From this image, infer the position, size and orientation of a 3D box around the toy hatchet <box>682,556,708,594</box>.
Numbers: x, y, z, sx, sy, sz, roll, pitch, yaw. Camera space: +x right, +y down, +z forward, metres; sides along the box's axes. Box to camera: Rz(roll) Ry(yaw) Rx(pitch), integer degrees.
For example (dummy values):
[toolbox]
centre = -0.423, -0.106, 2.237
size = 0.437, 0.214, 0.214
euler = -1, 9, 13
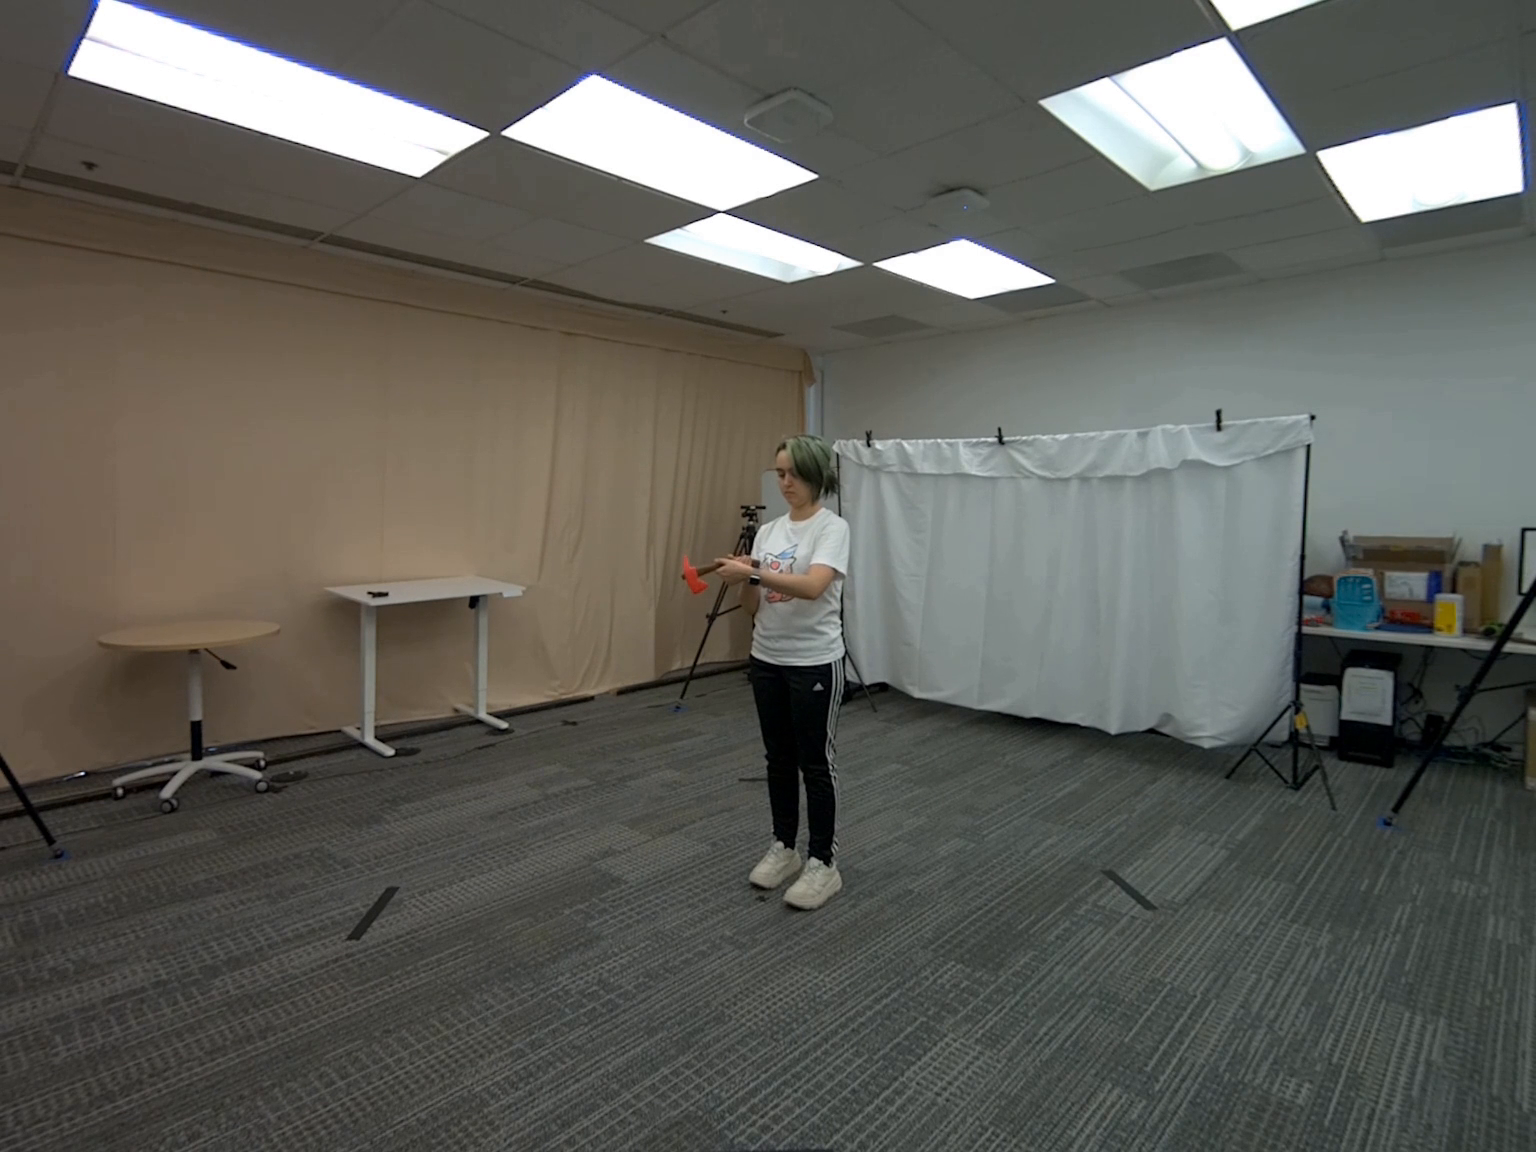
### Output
[toy hatchet]
centre = -0.156, 0.013, 2.839
size = 0.274, 0.131, 0.029
euler = 7, 1, 12
